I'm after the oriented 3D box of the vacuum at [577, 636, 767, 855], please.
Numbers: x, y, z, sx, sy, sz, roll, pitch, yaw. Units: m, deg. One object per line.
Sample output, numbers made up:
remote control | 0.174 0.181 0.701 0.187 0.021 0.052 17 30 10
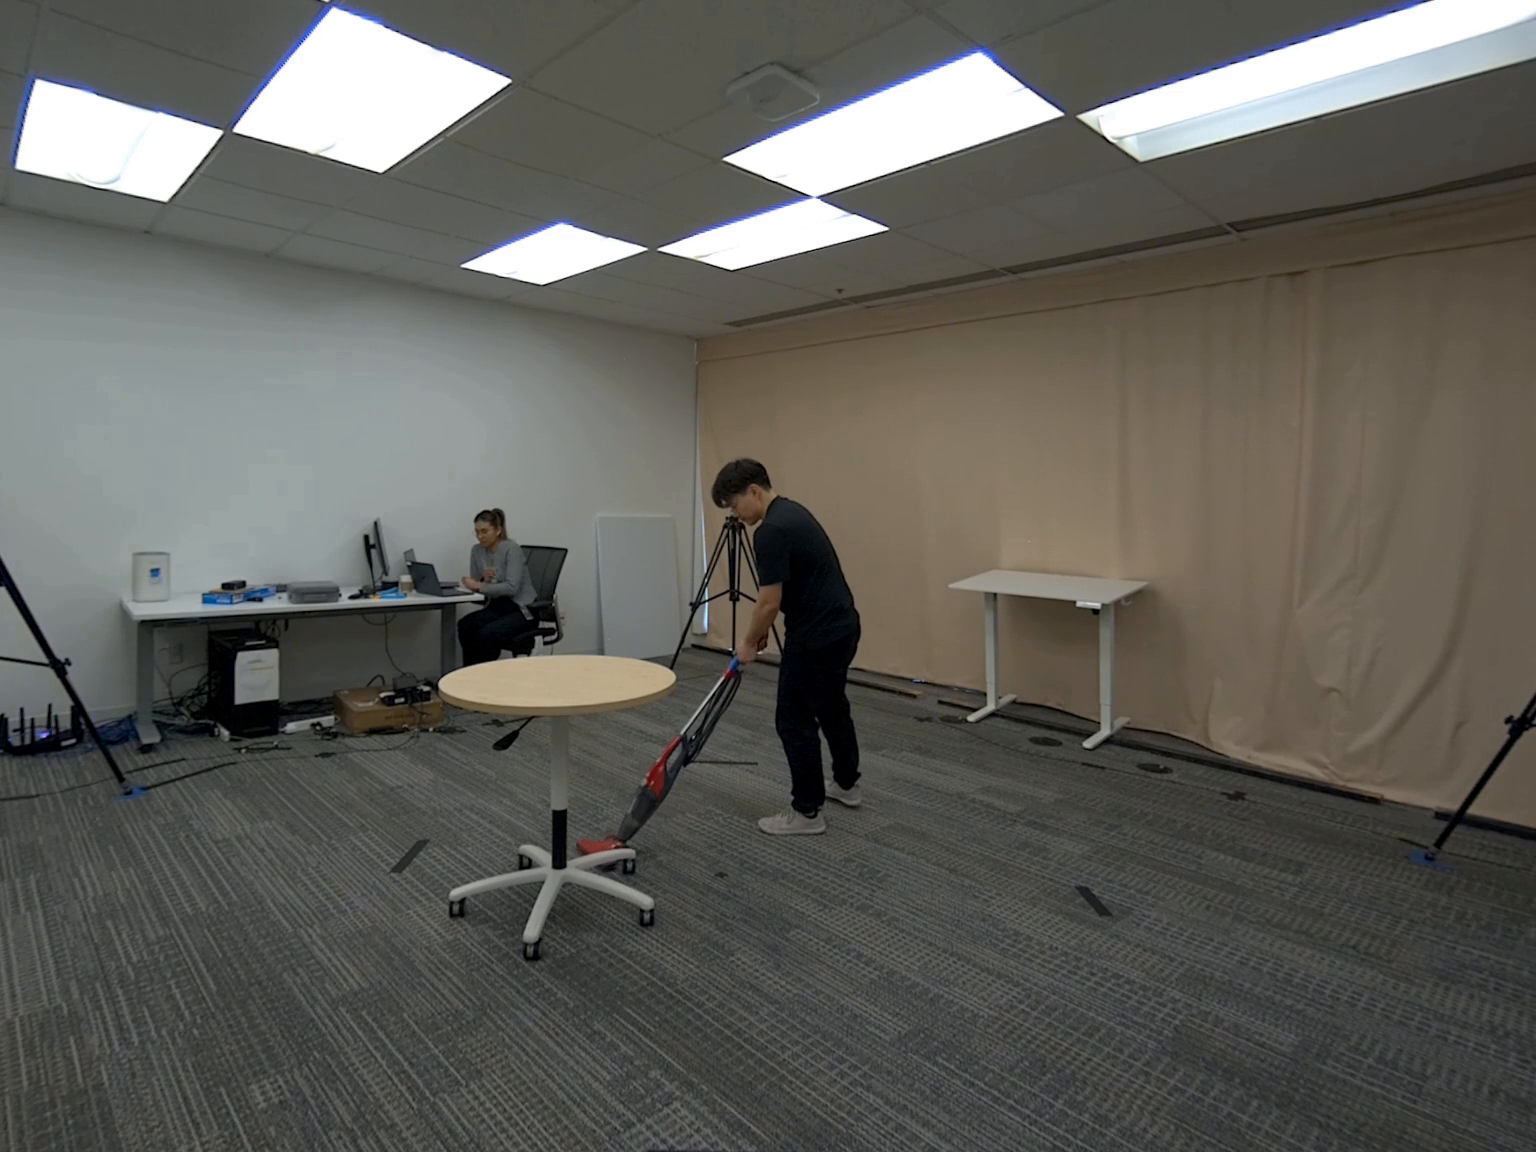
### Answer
vacuum | -0.335 0.685 3.421 0.259 1.050 0.140 11 -35 51
